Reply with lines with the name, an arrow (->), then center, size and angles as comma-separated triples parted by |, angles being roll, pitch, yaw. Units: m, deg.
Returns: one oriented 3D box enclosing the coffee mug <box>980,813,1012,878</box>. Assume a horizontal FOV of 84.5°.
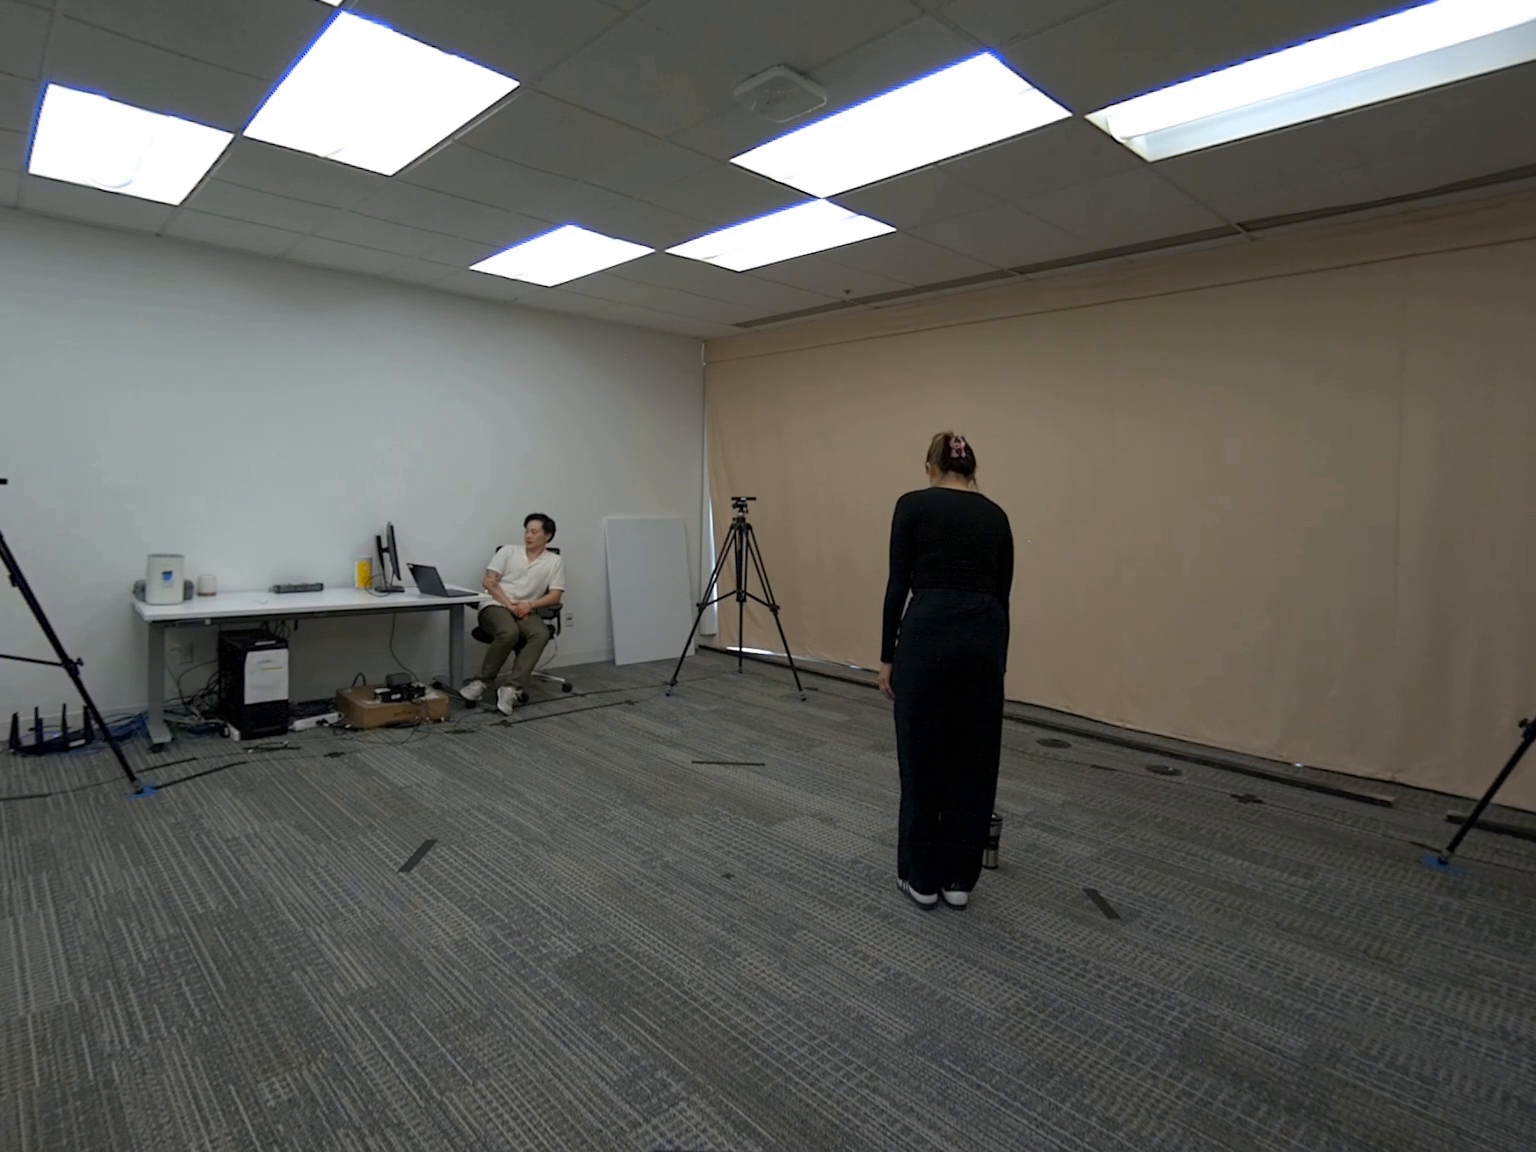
coffee mug -> 0.840, 1.026, 3.239 | 0.119, 0.202, 0.090 | 5, 7, -38
